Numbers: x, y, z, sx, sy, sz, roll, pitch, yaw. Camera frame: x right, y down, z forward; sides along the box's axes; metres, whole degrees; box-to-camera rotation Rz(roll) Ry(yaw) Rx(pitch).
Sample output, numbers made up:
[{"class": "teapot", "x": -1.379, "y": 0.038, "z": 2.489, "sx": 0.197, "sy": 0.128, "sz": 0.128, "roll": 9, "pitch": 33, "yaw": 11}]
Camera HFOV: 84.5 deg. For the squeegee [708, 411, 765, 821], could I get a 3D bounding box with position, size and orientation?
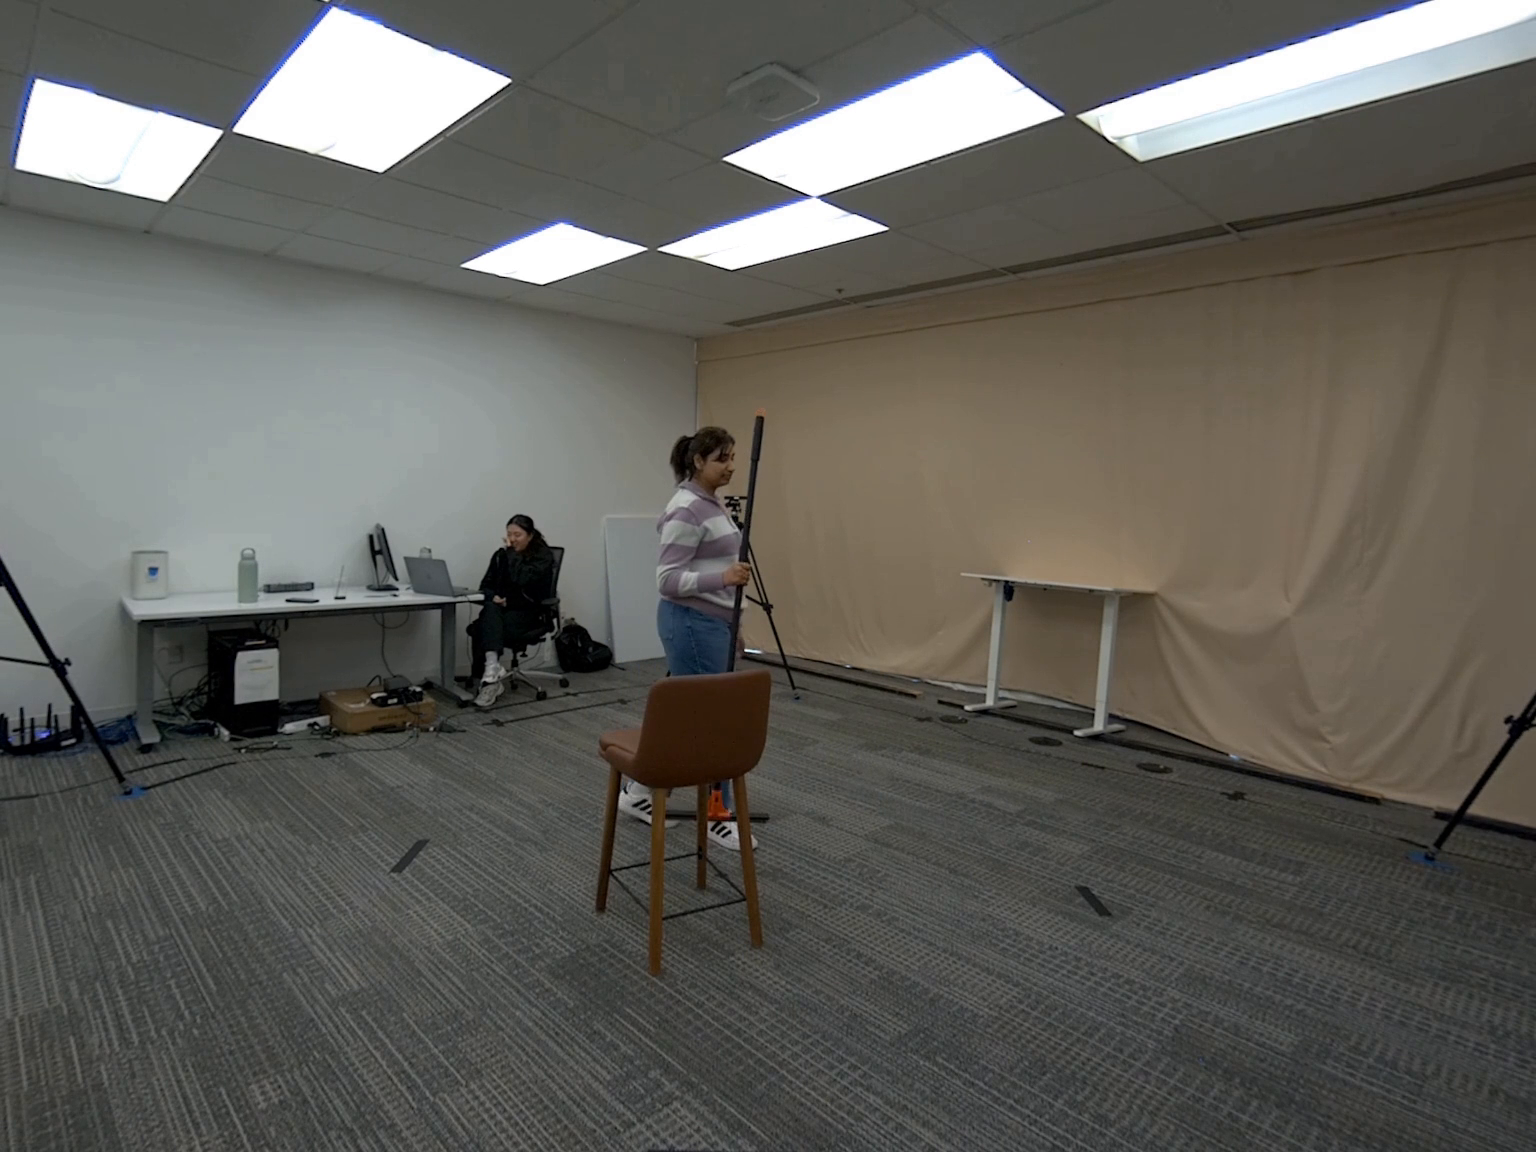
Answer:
[{"class": "squeegee", "x": -0.115, "y": 0.162, "z": 3.113, "sx": 0.432, "sy": 1.537, "sz": 0.053, "roll": 6, "pitch": 0, "yaw": -14}]
